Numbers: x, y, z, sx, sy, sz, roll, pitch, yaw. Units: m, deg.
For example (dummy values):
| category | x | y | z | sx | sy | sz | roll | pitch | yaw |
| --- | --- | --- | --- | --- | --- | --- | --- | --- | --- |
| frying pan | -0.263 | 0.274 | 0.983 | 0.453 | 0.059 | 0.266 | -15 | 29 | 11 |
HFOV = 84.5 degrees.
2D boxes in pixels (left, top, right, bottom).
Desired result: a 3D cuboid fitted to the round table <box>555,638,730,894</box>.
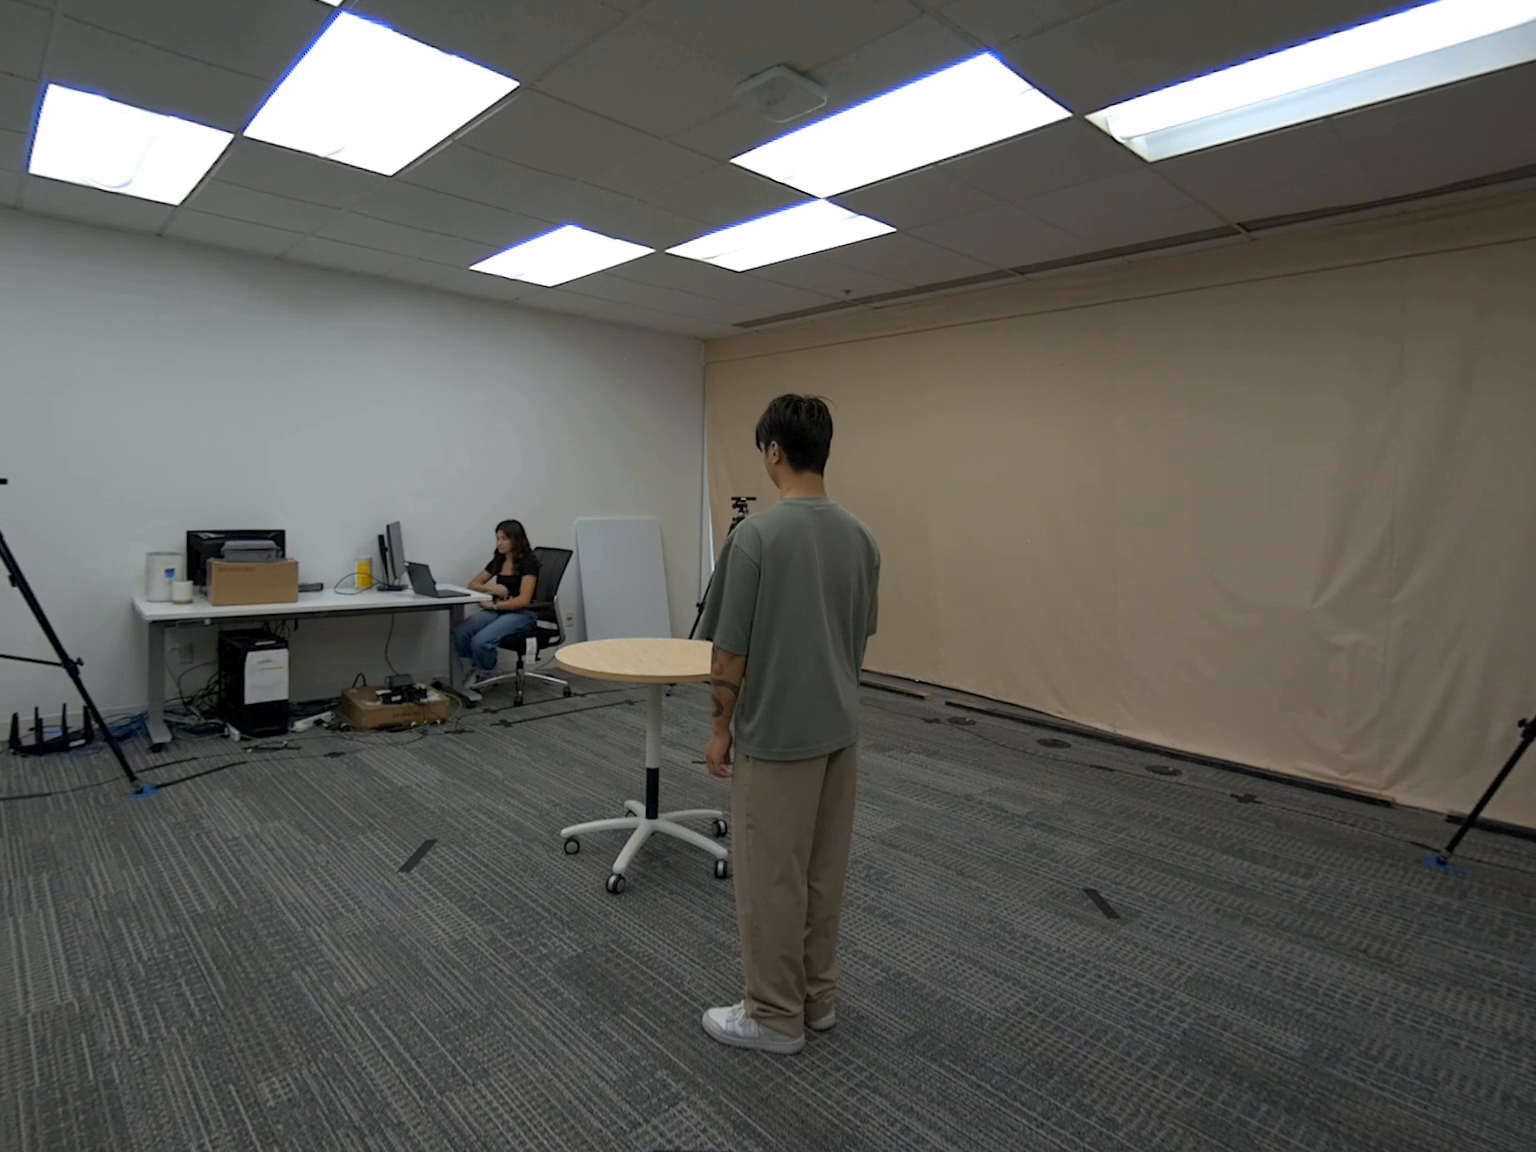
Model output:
| category | x | y | z | sx | sy | sz | roll | pitch | yaw |
| --- | --- | --- | --- | --- | --- | --- | --- | --- | --- |
| round table | -0.459 | 0.699 | 3.273 | 0.763 | 0.792 | 0.766 | 1 | 4 | -1 |
